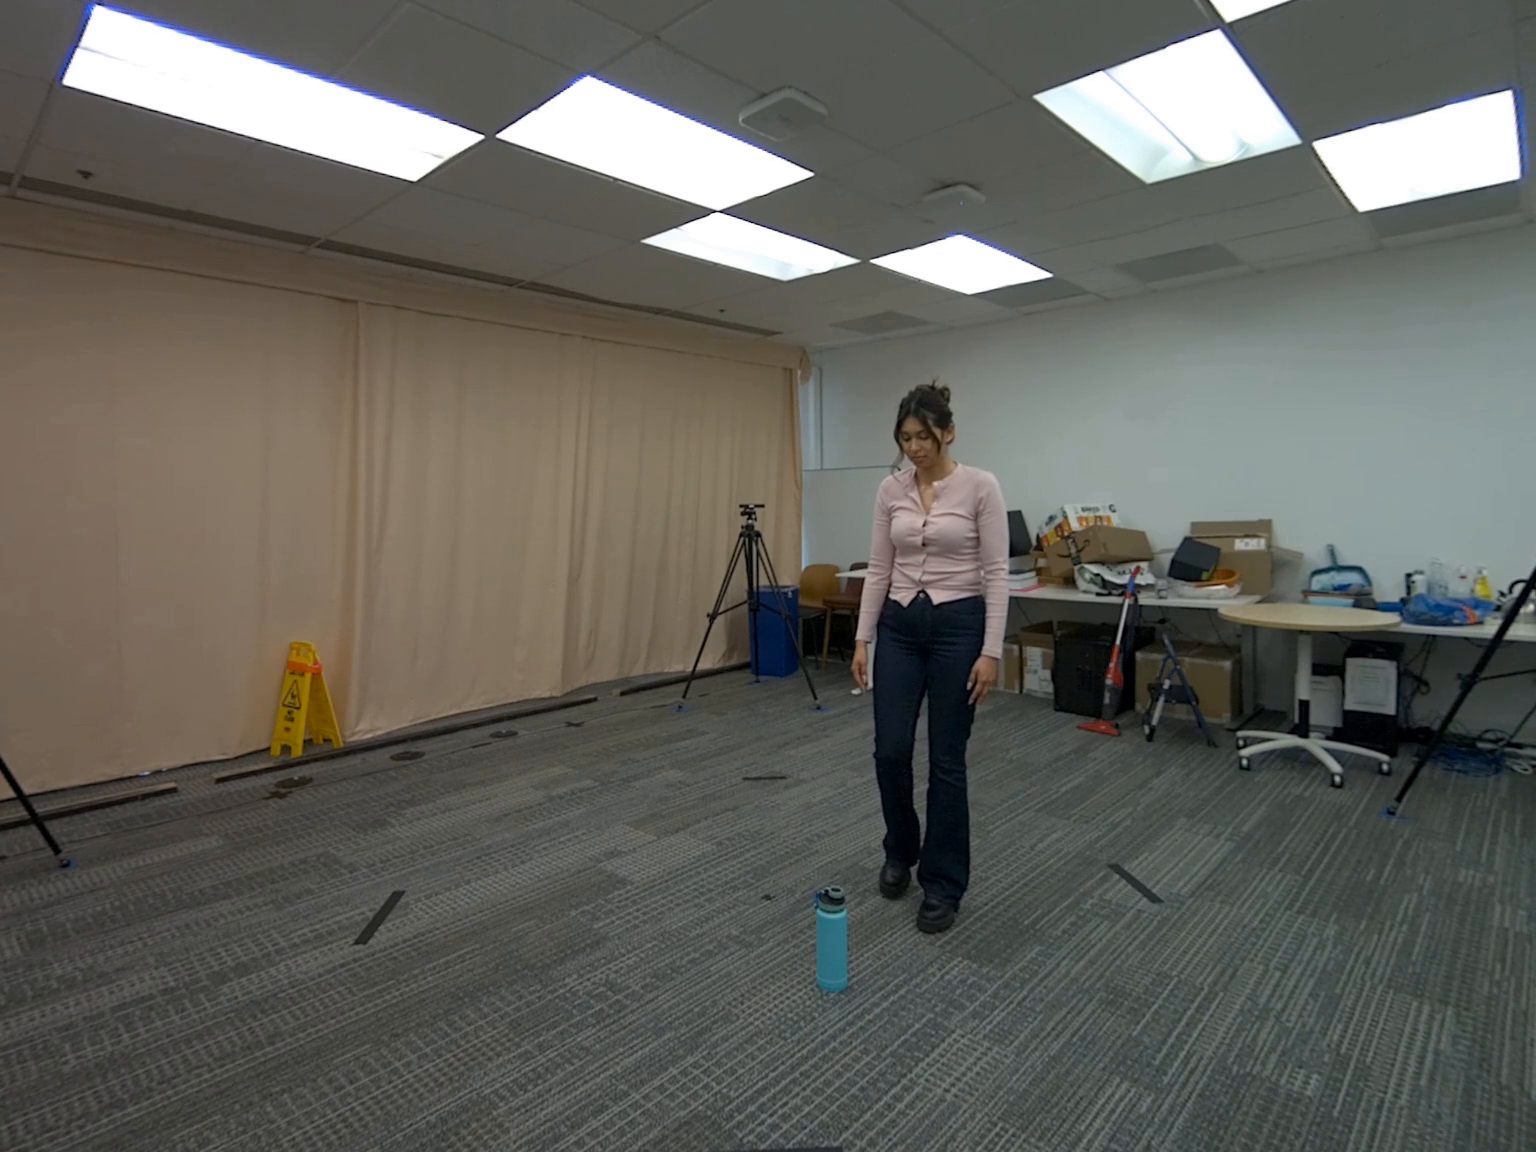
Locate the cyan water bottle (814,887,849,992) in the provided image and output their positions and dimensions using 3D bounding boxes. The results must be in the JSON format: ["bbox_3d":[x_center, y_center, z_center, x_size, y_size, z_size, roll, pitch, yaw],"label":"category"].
[{"bbox_3d":[0.187,1.046,2.425,0.092,0.283,0.092,-1,2,-2],"label":"cyan water bottle"}]
